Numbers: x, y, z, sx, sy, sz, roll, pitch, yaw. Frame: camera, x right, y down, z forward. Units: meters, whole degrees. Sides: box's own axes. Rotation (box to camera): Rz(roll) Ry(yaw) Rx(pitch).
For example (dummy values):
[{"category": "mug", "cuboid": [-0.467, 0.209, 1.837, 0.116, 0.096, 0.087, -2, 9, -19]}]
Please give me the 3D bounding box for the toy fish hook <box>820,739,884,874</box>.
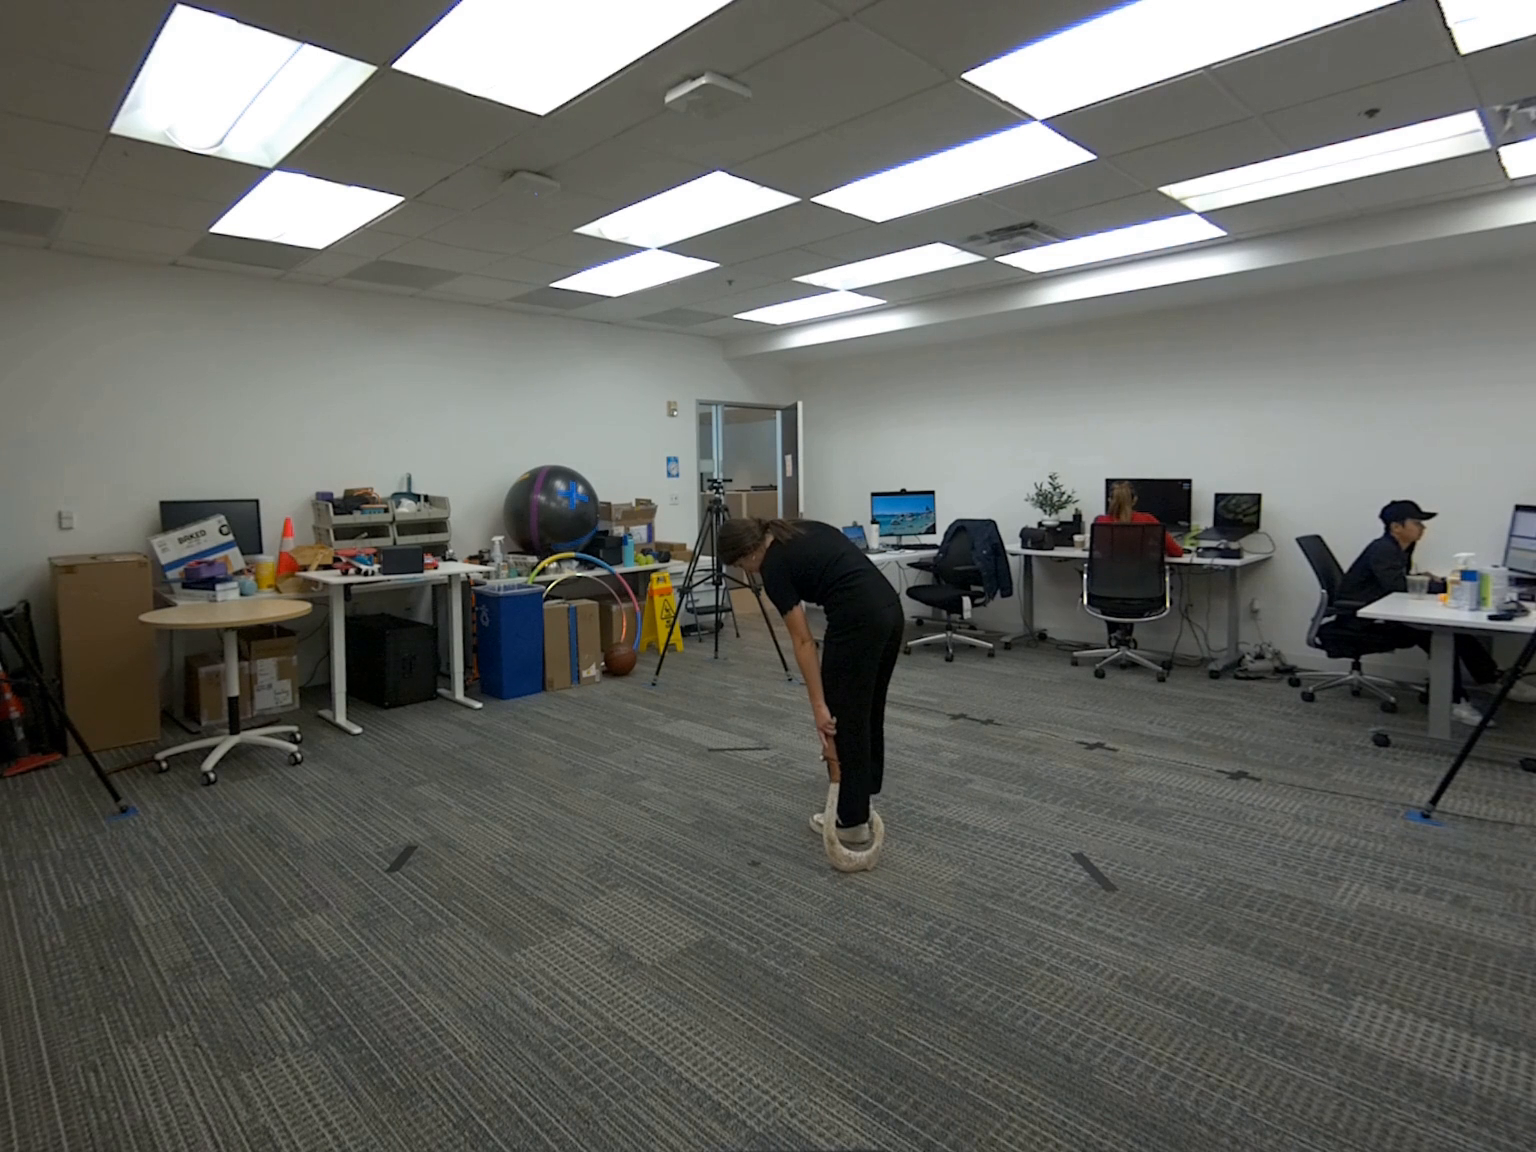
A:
[{"category": "toy fish hook", "cuboid": [0.296, 0.809, 3.118, 0.222, 0.516, 0.048, -2, -19, -9]}]
